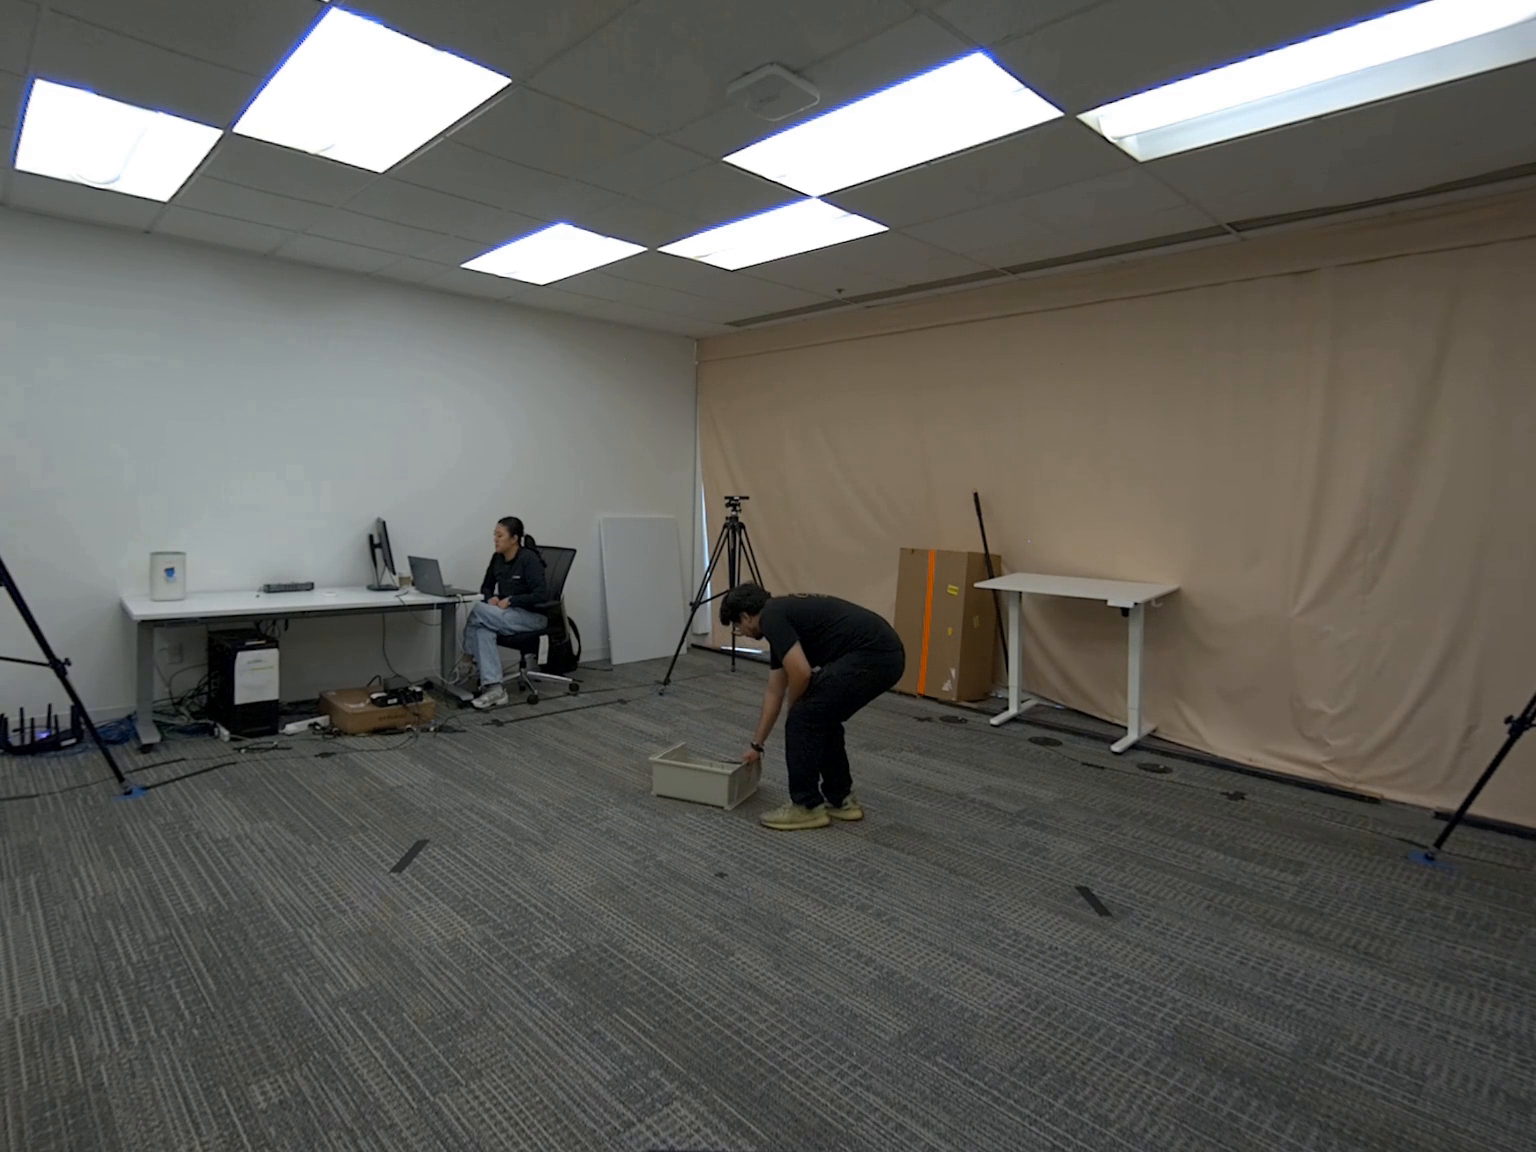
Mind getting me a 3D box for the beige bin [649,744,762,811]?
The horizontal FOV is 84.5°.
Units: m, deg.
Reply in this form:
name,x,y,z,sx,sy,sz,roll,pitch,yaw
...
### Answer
name,x,y,z,sx,sy,sz,roll,pitch,yaw
beige bin,-0.294,0.929,3.989,0.430,0.188,0.371,4,6,23
